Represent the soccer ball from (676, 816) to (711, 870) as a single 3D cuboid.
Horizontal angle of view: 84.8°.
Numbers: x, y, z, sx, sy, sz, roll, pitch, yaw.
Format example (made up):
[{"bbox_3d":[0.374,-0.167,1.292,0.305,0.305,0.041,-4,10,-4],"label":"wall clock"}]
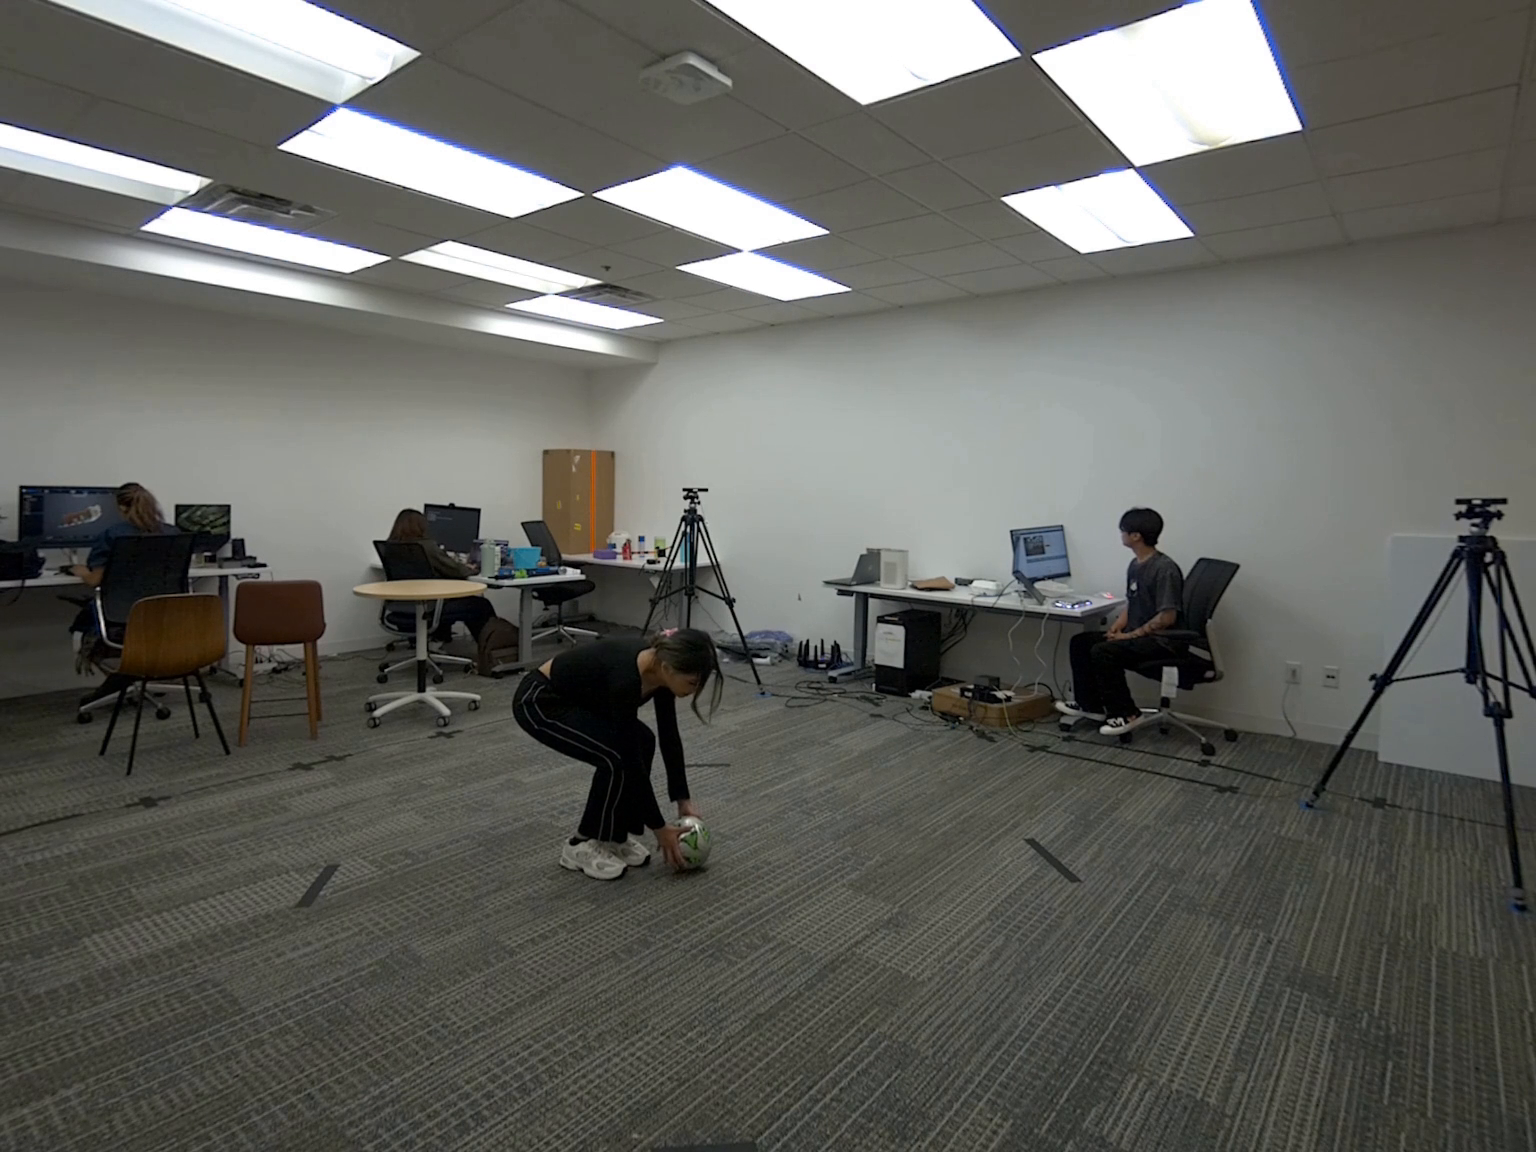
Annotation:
[{"bbox_3d":[-0.309,0.984,3.113,0.187,0.187,0.188,1,4,-2],"label":"soccer ball"}]
